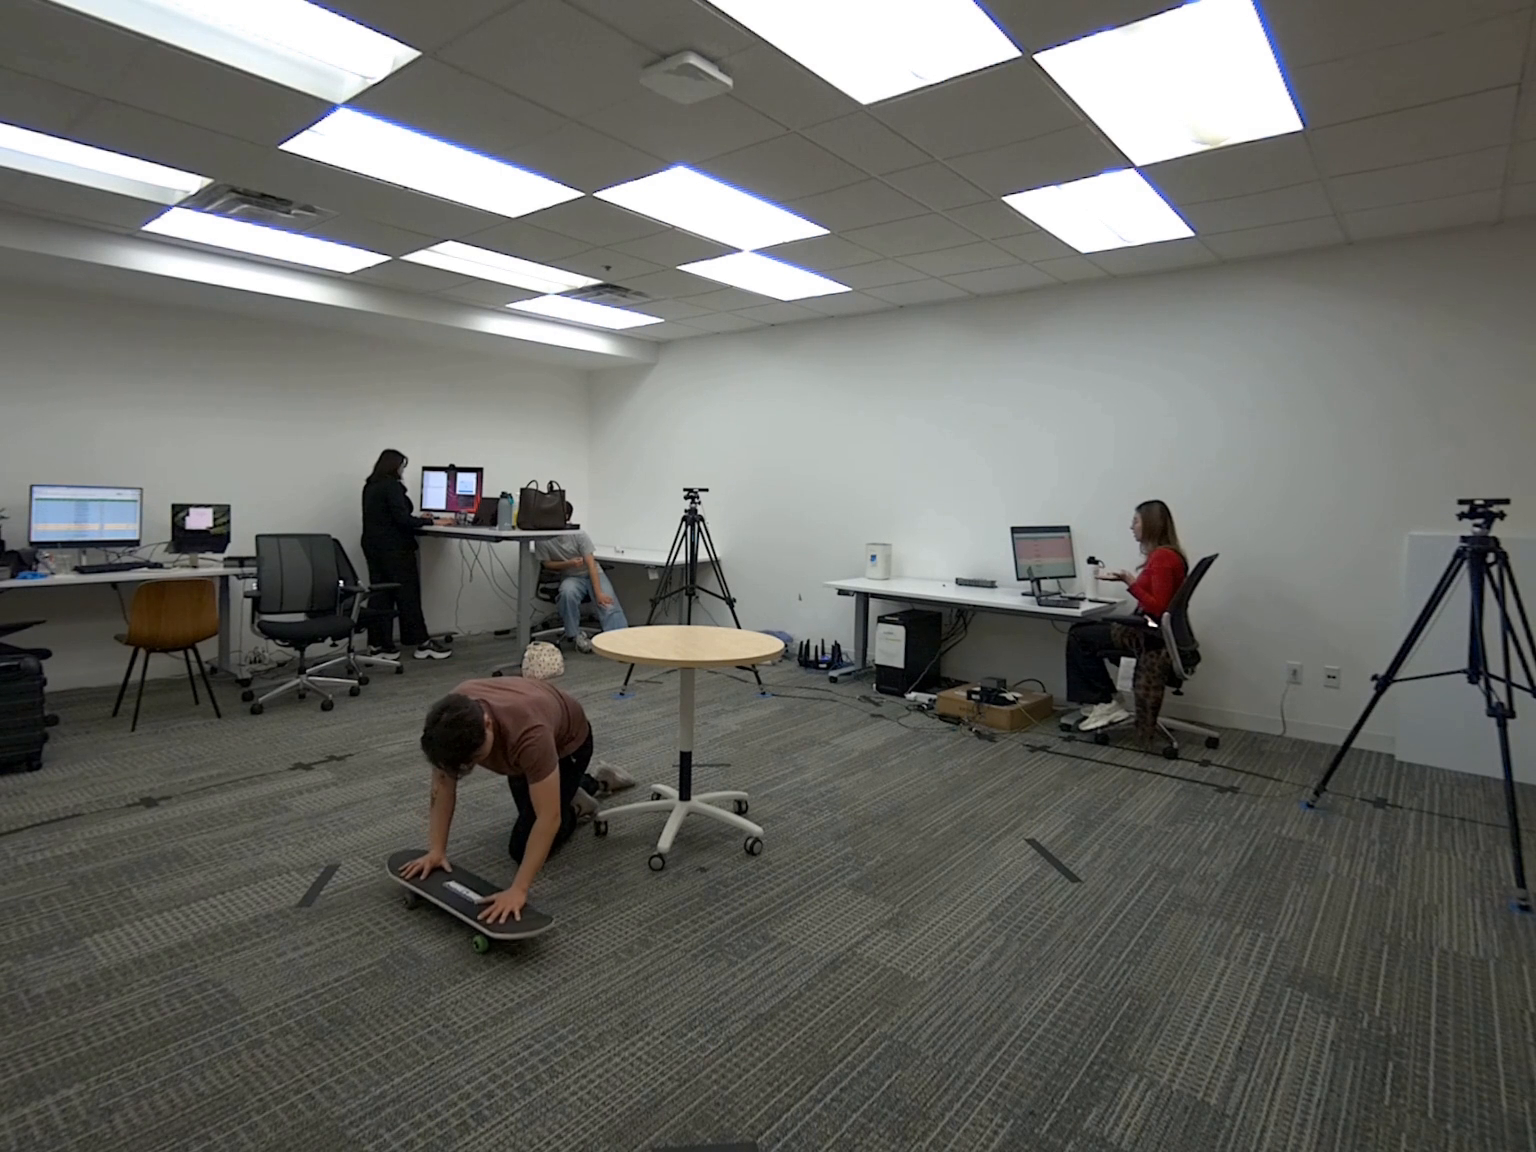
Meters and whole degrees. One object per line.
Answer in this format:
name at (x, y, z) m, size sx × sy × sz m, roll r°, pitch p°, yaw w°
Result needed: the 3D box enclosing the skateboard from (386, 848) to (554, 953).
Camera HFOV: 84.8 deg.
skateboard at (-0.971, 1.038, 2.712) m, size 0.812 × 0.110 × 0.188 m, roll 5°, pitch 7°, yaw 38°
